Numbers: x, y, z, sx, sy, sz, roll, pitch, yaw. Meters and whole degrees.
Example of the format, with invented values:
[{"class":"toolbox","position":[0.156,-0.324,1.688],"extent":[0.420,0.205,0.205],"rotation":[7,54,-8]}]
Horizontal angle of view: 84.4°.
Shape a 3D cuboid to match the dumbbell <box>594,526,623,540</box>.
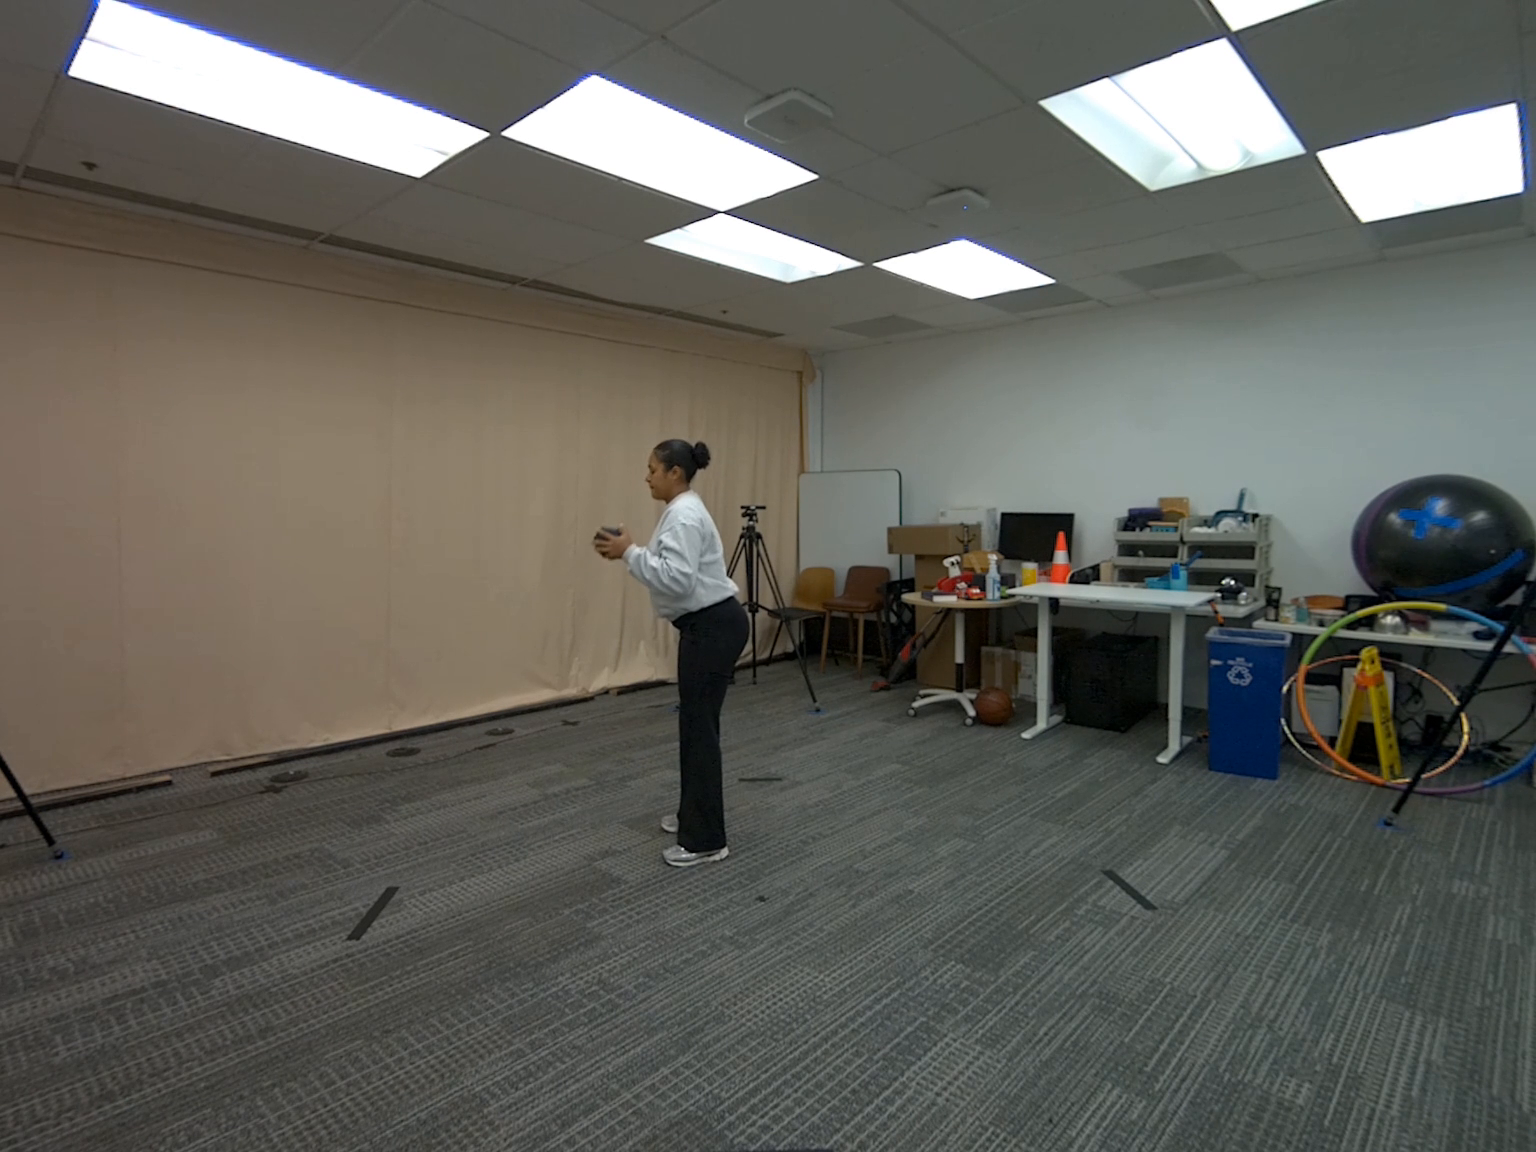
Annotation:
[{"class":"dumbbell","position":[-0.611,-0.115,3.393],"extent":[0.108,0.123,0.294],"rotation":[-22,-1,-5]}]
